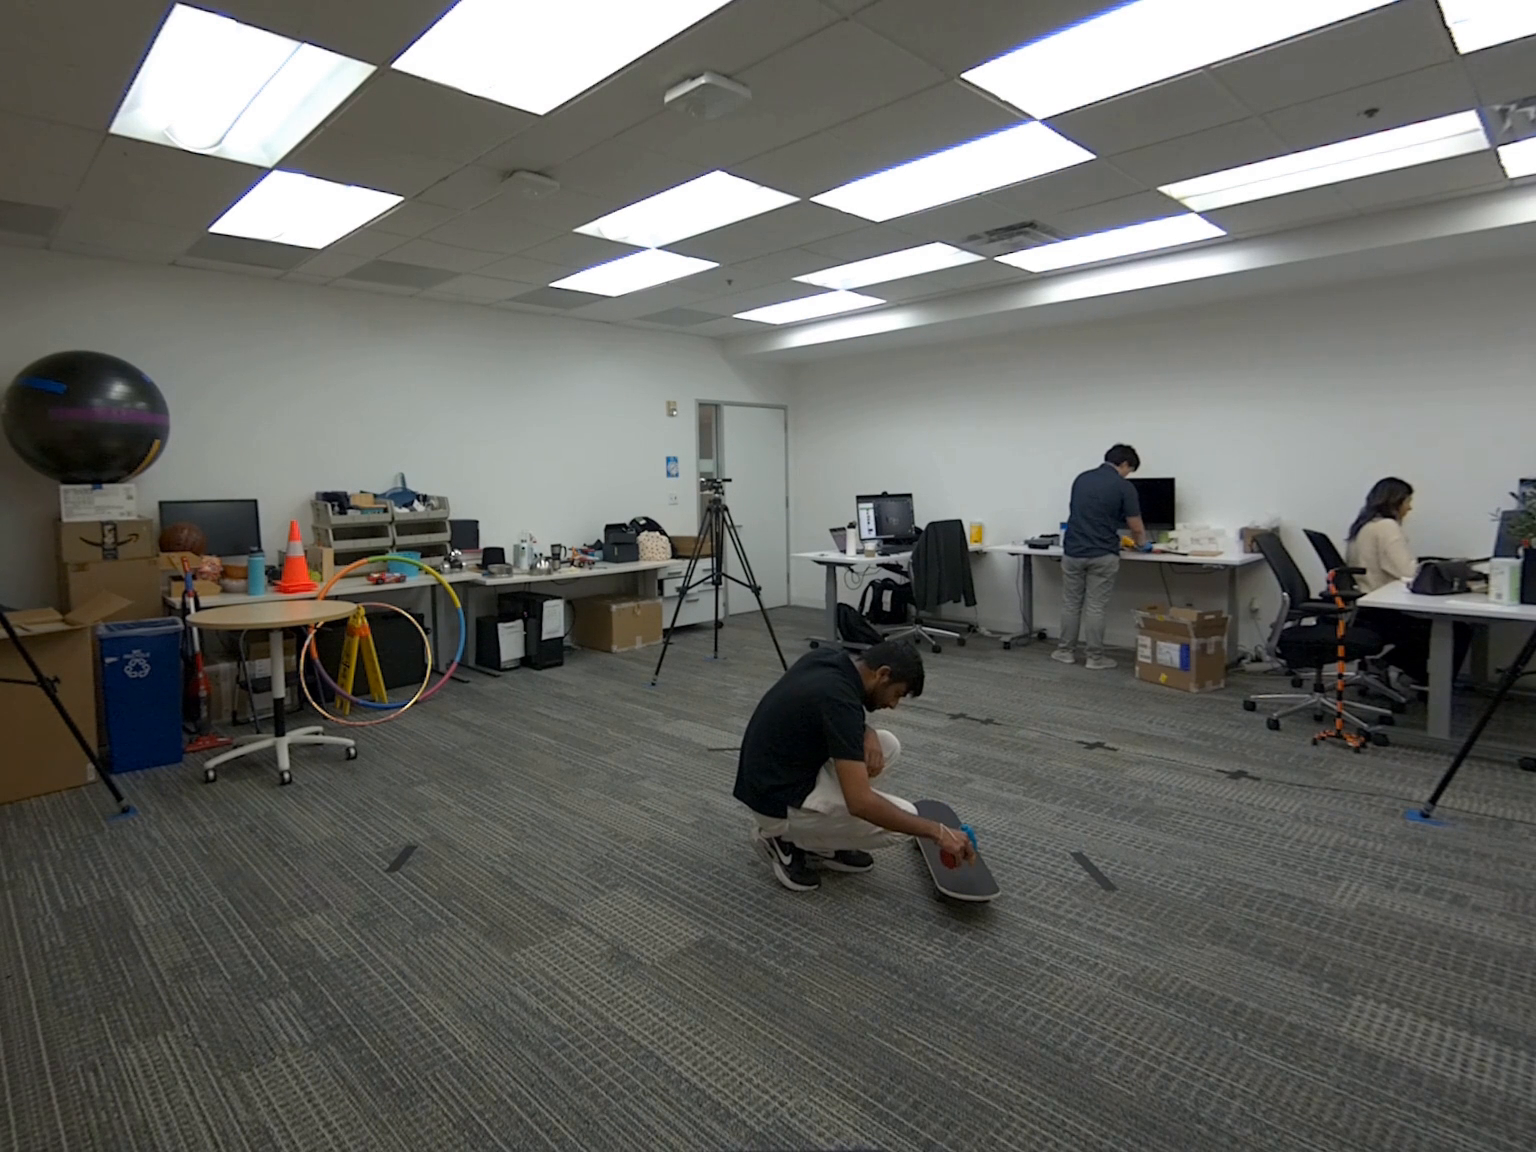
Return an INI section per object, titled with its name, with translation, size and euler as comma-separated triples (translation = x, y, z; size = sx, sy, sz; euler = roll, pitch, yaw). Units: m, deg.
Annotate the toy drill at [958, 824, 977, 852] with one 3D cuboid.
[toy drill]
translation = 0.615, 0.878, 2.736
size = 0.144, 0.165, 0.063
euler = -24, 28, -23
